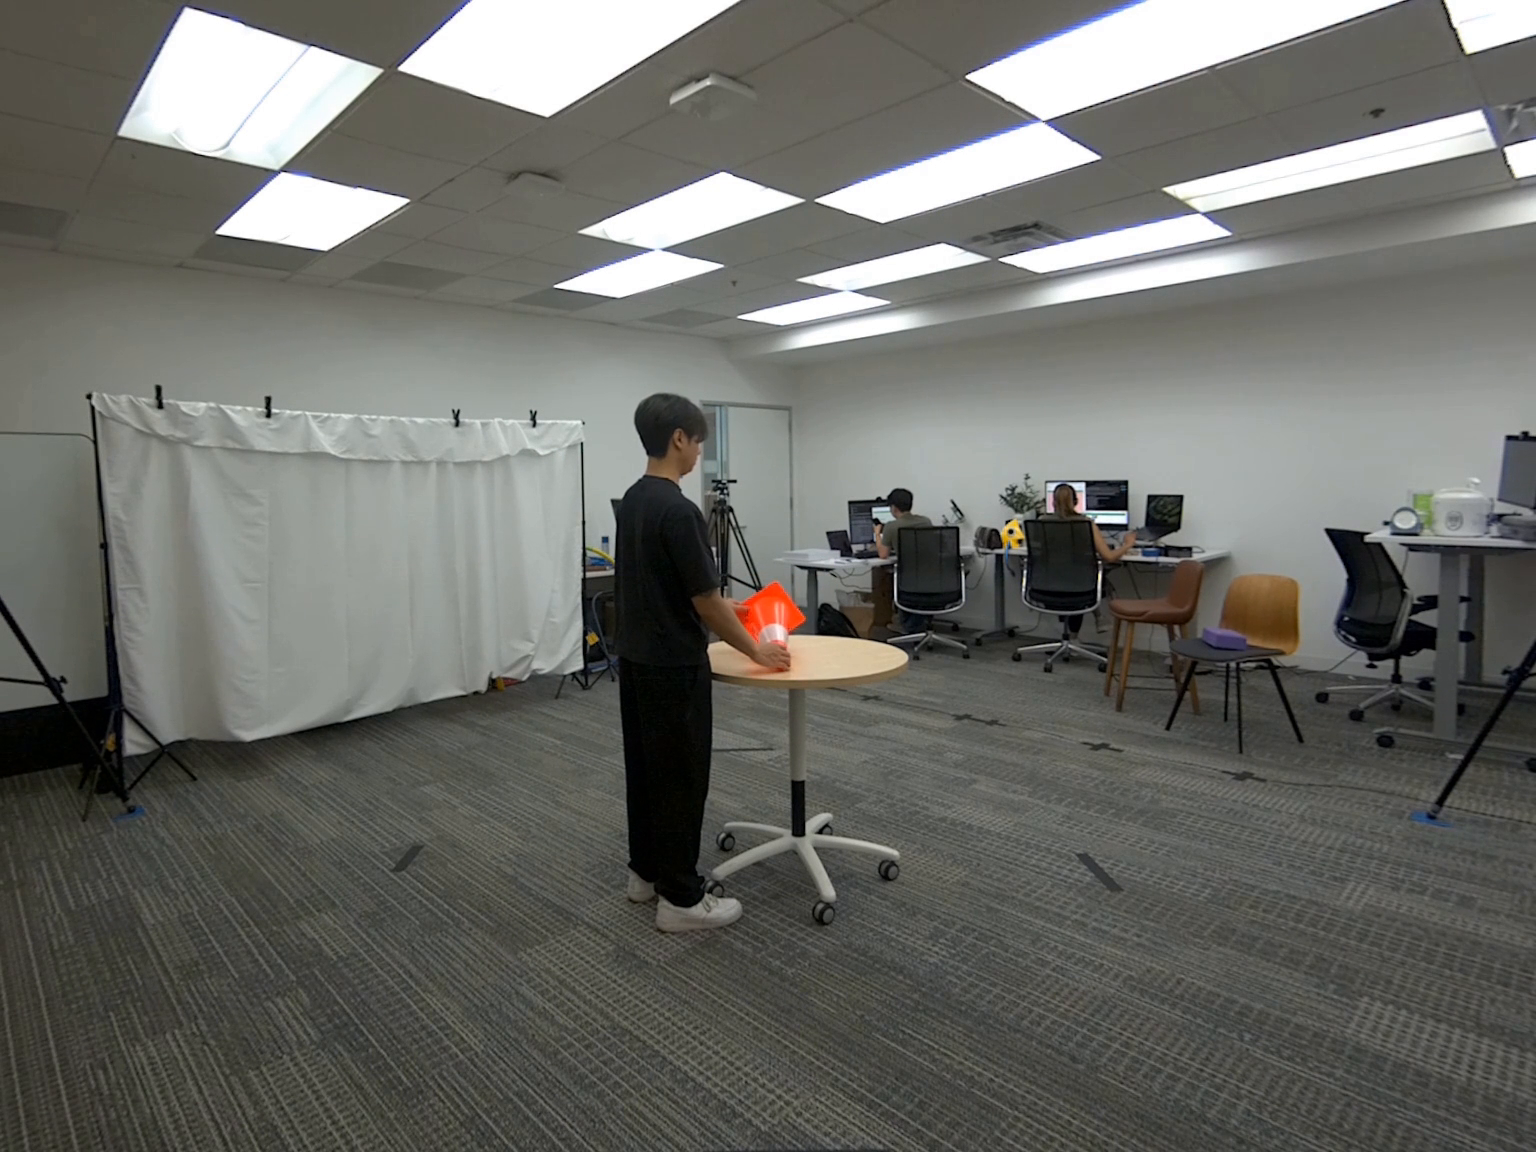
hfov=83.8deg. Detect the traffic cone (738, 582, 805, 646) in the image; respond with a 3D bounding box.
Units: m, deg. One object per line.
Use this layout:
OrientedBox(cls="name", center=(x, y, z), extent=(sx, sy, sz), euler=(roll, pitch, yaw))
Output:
OrientedBox(cls="traffic cone", center=(0.029, 0.215, 2.899), extent=(0.203, 0.200, 0.392), euler=(-39, 20, 8))
